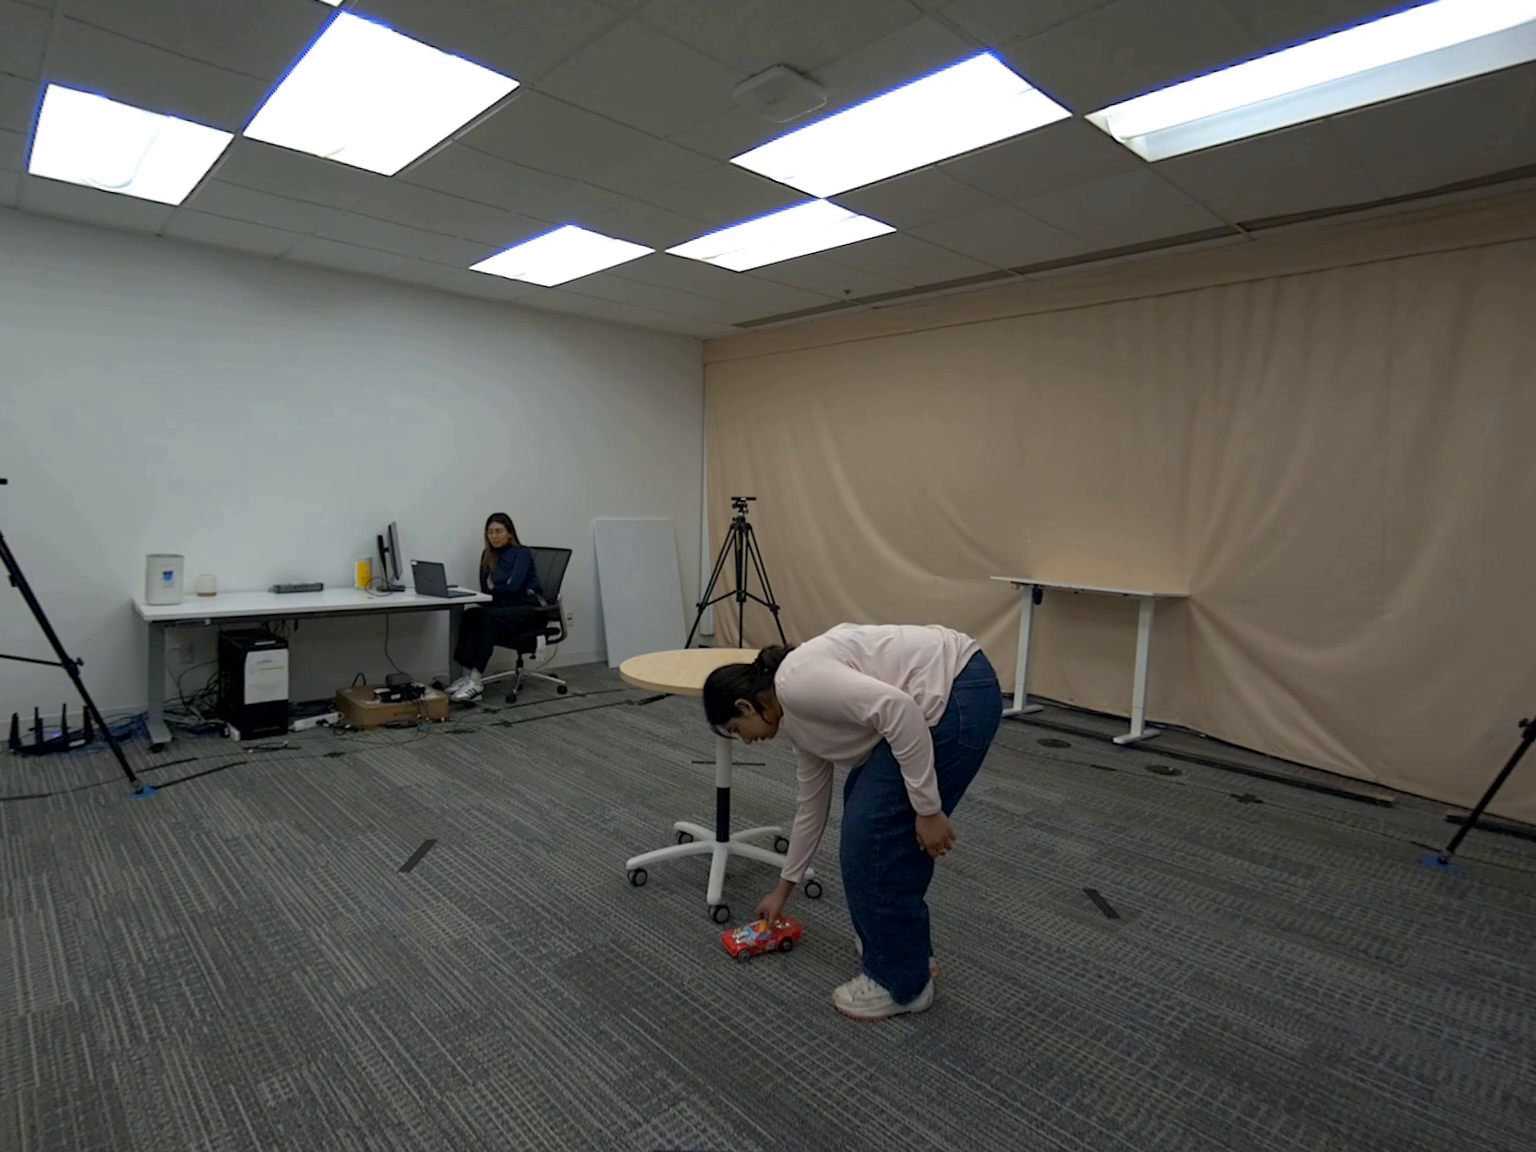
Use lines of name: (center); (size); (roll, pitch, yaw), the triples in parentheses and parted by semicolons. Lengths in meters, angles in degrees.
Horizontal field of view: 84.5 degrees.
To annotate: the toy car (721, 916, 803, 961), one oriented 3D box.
toy car: (-0.019, 1.123, 2.610); (0.251, 0.082, 0.133); (-11, 10, -23)
